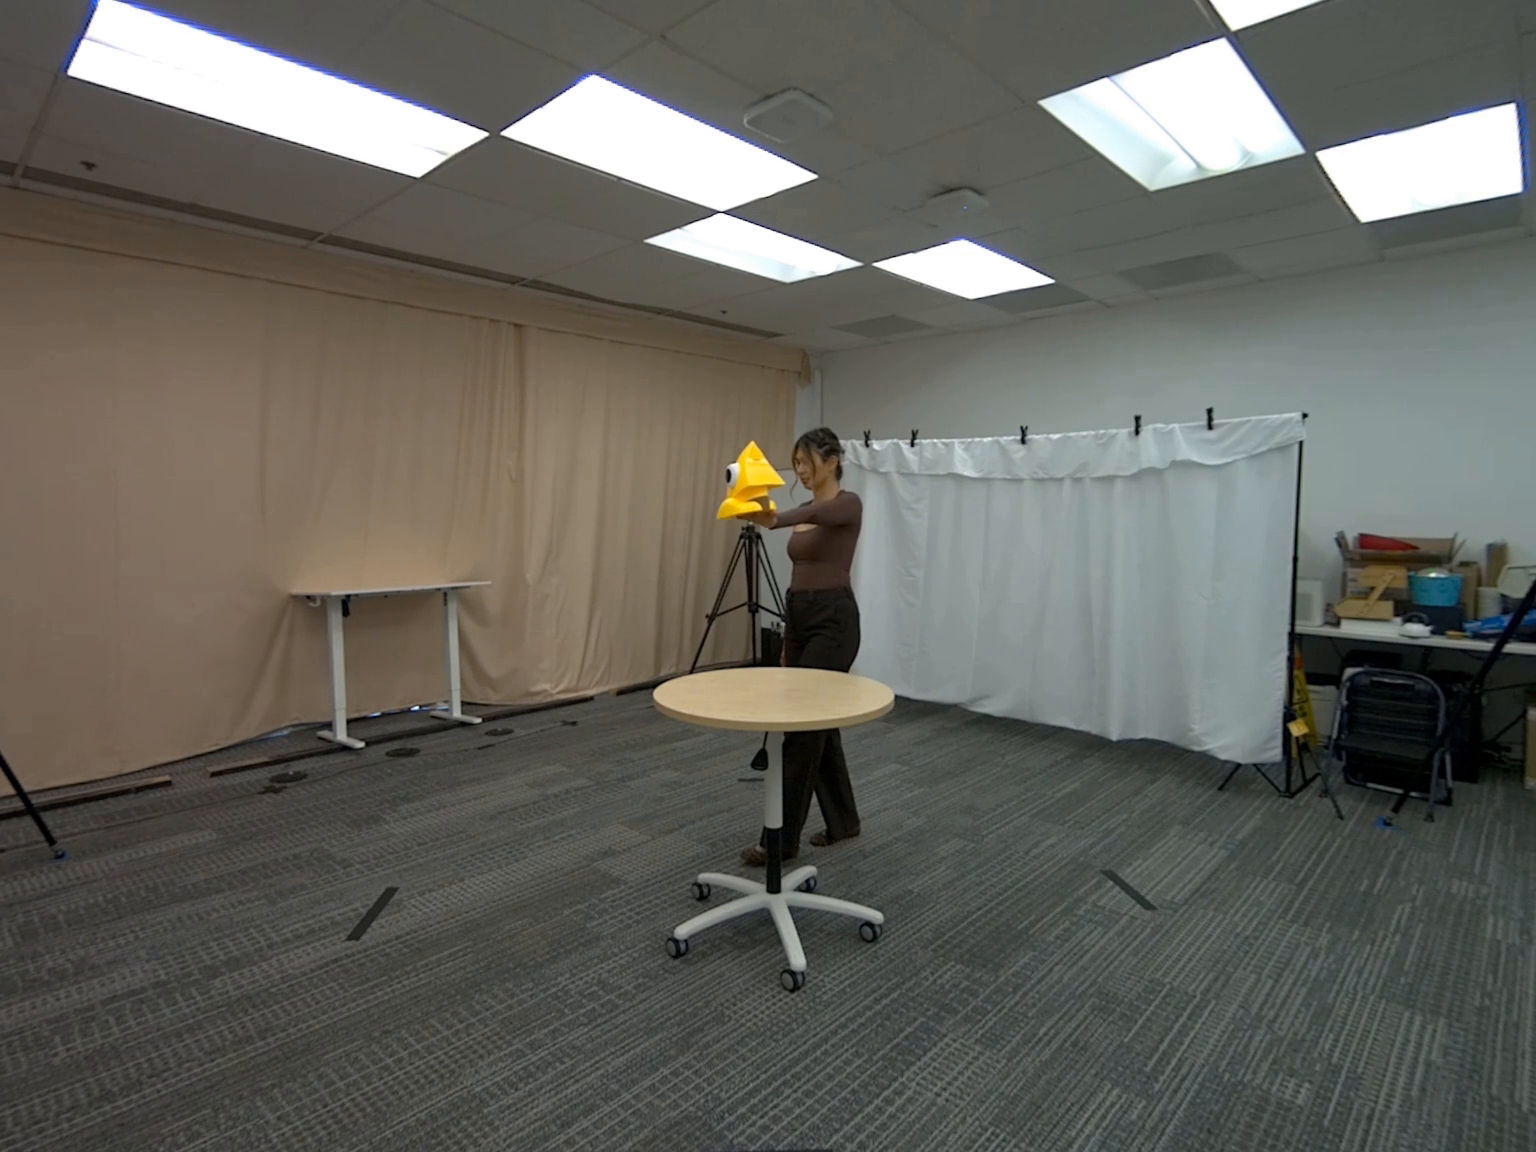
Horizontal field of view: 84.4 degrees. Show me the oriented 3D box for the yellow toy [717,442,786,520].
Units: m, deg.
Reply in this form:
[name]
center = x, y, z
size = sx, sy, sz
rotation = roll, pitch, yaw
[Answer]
[yellow toy]
center = -0.075, -0.321, 2.781
size = 0.198, 0.231, 0.199
rotation = -11, -1, 38
